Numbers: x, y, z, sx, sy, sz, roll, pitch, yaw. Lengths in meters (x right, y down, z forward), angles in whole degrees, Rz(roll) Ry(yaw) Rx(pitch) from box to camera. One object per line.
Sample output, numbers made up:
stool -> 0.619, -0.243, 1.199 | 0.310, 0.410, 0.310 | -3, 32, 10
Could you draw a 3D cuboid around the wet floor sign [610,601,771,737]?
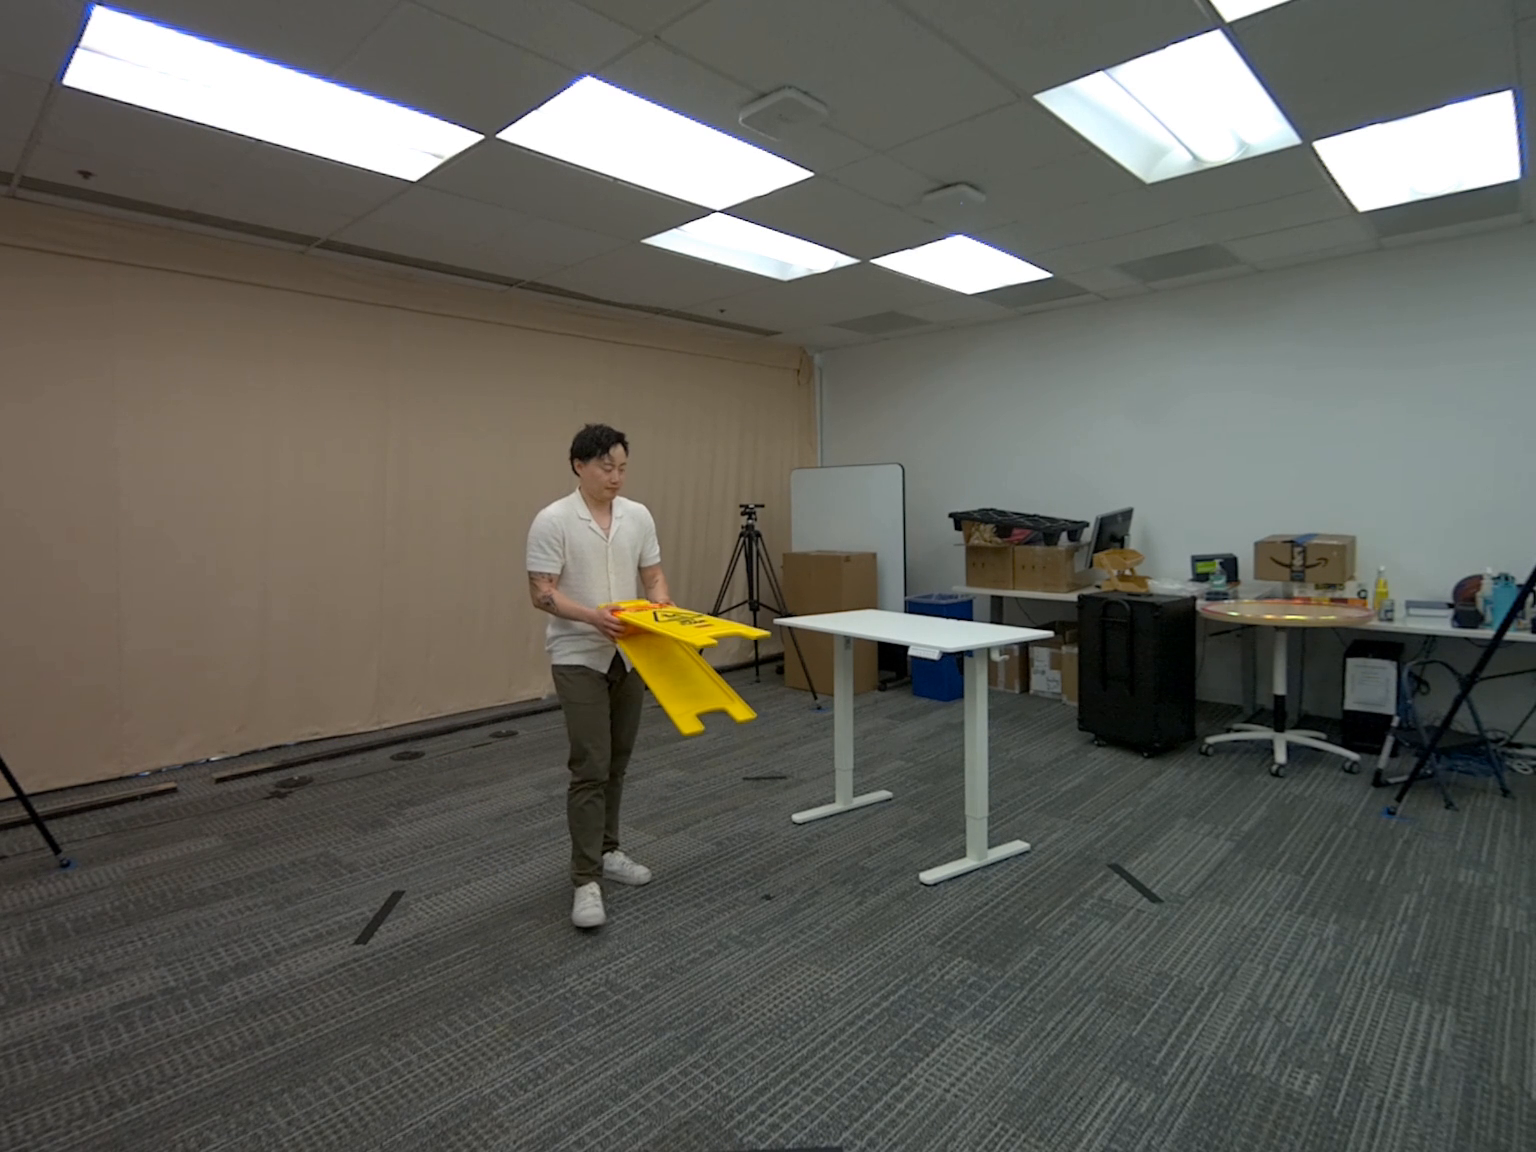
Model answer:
wet floor sign -> -0.305, 0.213, 2.741 | 0.274, 0.287, 0.670 | -7, 24, -40
